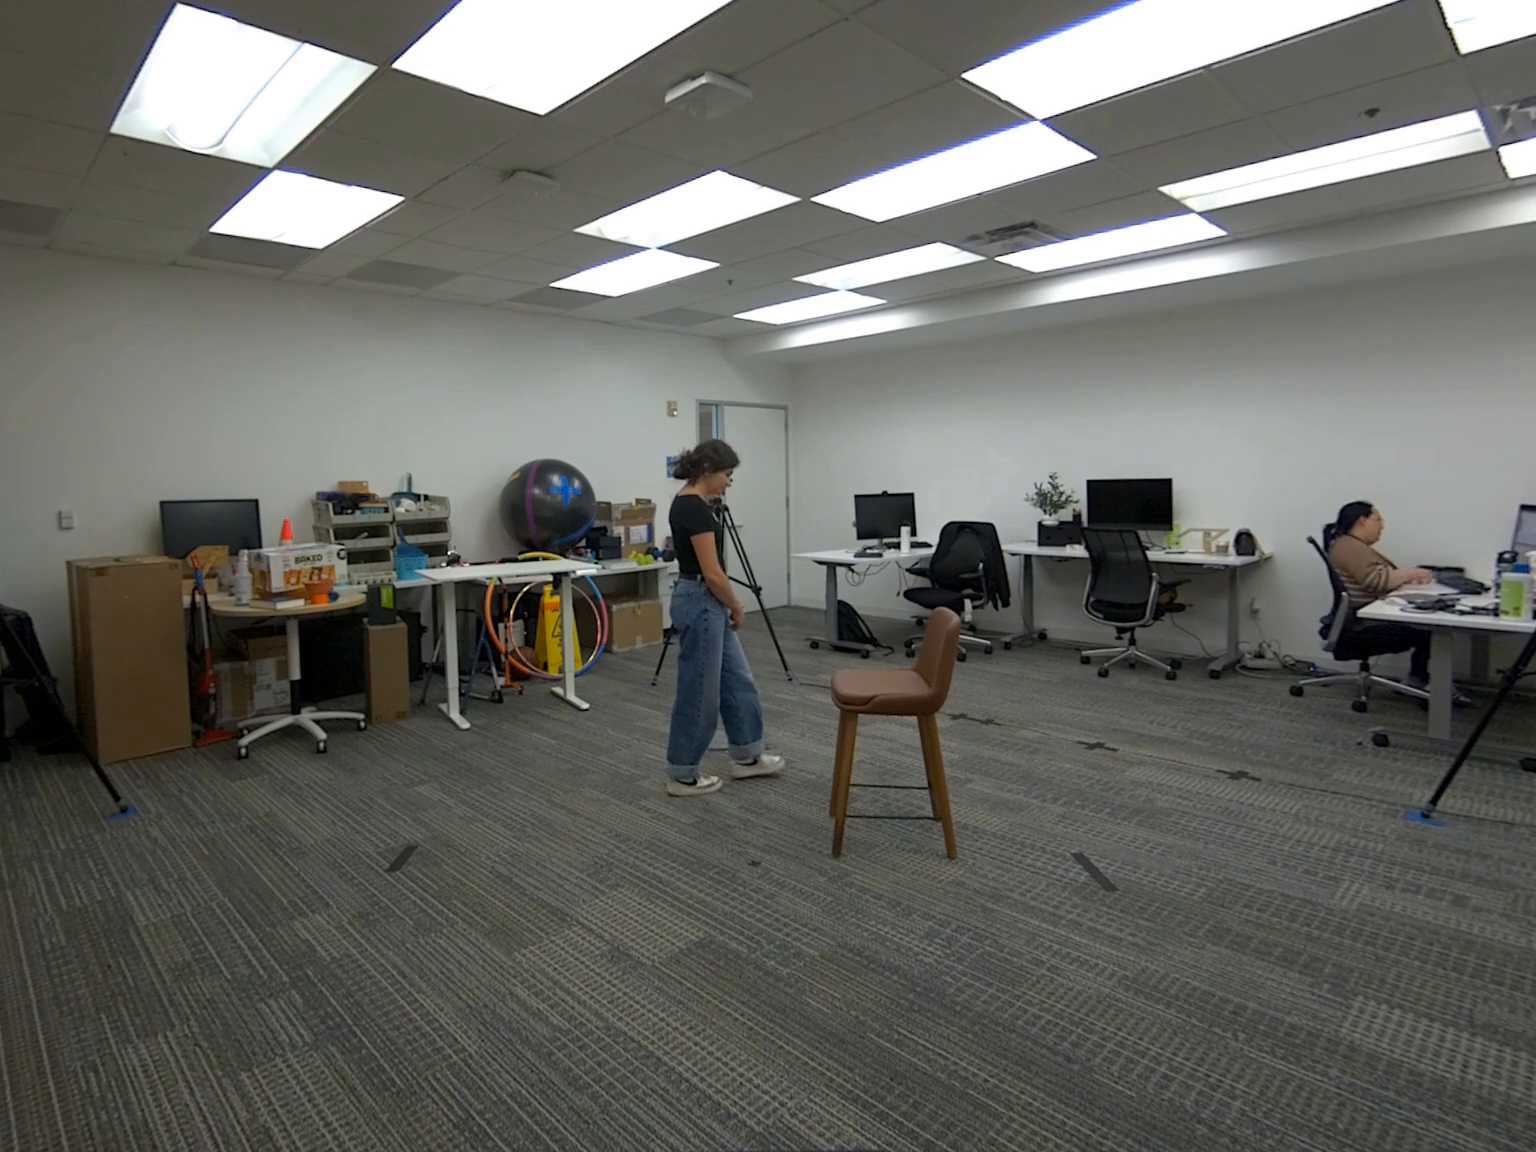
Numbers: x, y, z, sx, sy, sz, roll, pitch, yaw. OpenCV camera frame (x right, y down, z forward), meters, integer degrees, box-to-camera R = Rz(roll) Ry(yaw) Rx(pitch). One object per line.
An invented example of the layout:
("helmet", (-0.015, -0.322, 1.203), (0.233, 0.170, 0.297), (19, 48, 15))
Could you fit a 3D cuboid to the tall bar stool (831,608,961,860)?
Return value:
("tall bar stool", (0.475, 0.580, 3.297), (0.470, 0.887, 0.456), (1, 4, 4))
